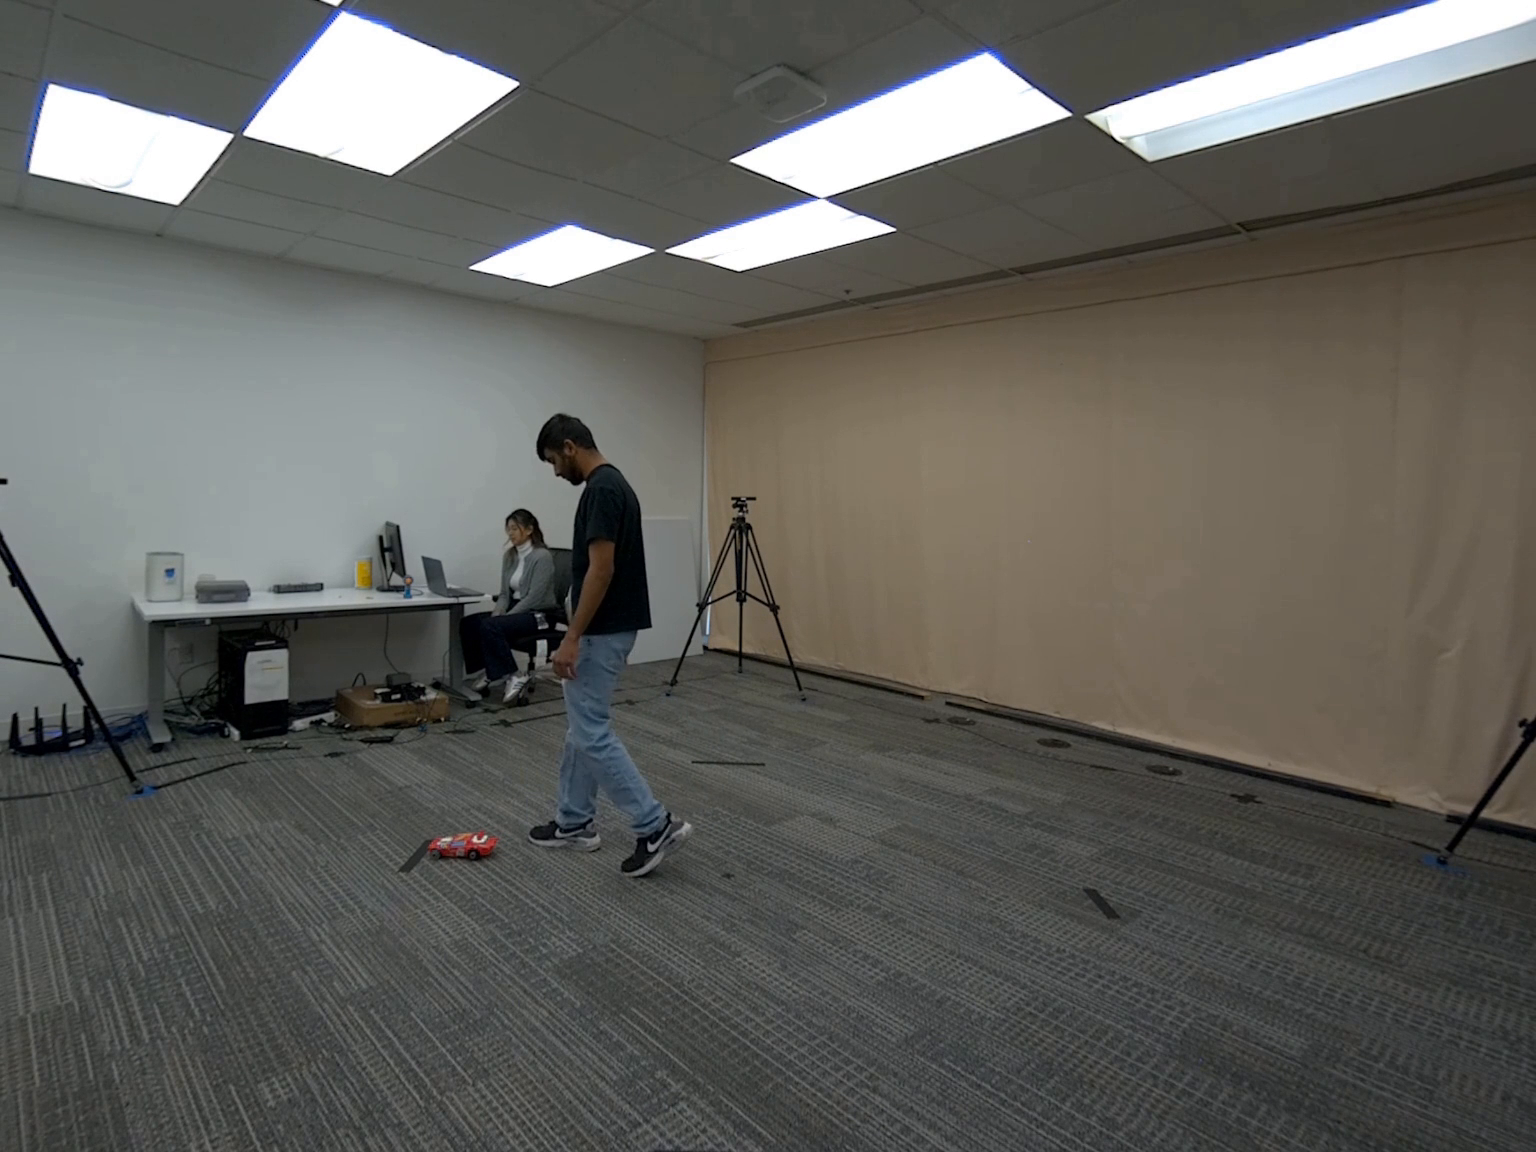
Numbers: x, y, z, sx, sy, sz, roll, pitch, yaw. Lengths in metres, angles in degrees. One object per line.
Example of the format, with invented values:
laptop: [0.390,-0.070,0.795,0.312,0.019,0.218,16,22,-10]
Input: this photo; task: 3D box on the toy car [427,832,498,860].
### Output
toy car: [-1.172,1.039,3.235,0.255,0.083,0.130,-9,3,1]
